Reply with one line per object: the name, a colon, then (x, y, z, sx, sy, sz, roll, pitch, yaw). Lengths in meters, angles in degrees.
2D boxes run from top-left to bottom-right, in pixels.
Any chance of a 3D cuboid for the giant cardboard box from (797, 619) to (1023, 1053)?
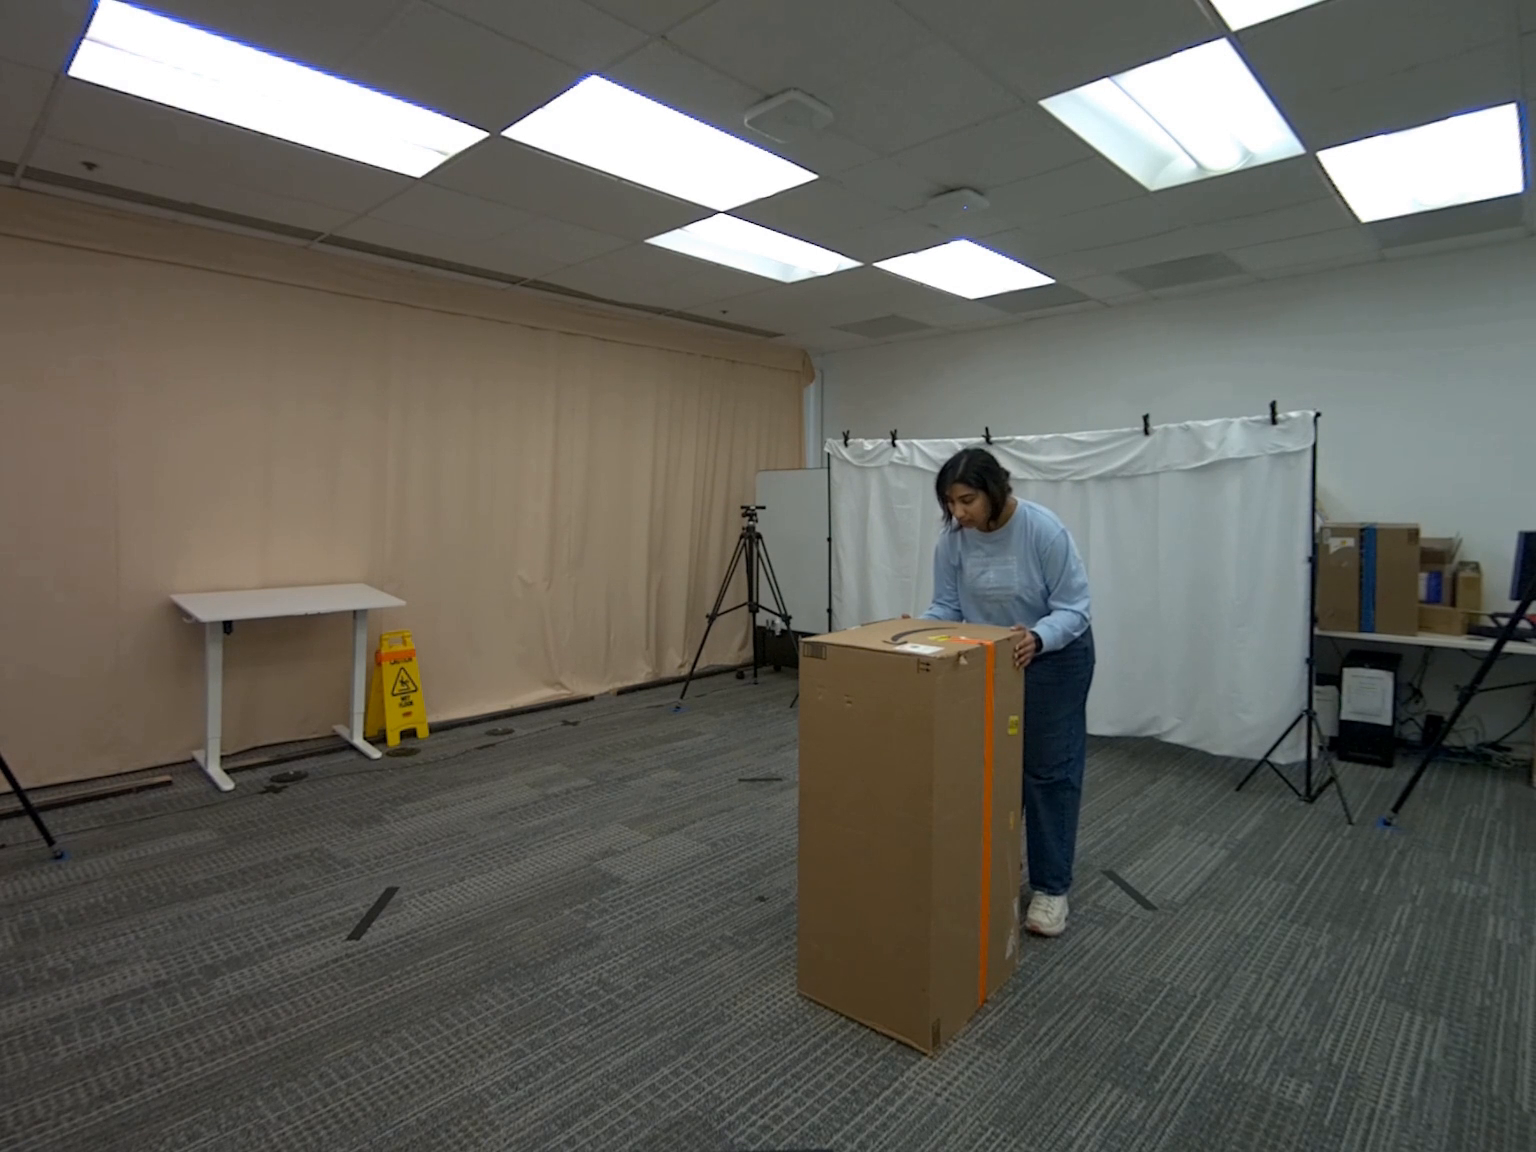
giant cardboard box: (0.428, 0.683, 2.444, 0.440, 1.024, 0.560, 3, 4, 39)
